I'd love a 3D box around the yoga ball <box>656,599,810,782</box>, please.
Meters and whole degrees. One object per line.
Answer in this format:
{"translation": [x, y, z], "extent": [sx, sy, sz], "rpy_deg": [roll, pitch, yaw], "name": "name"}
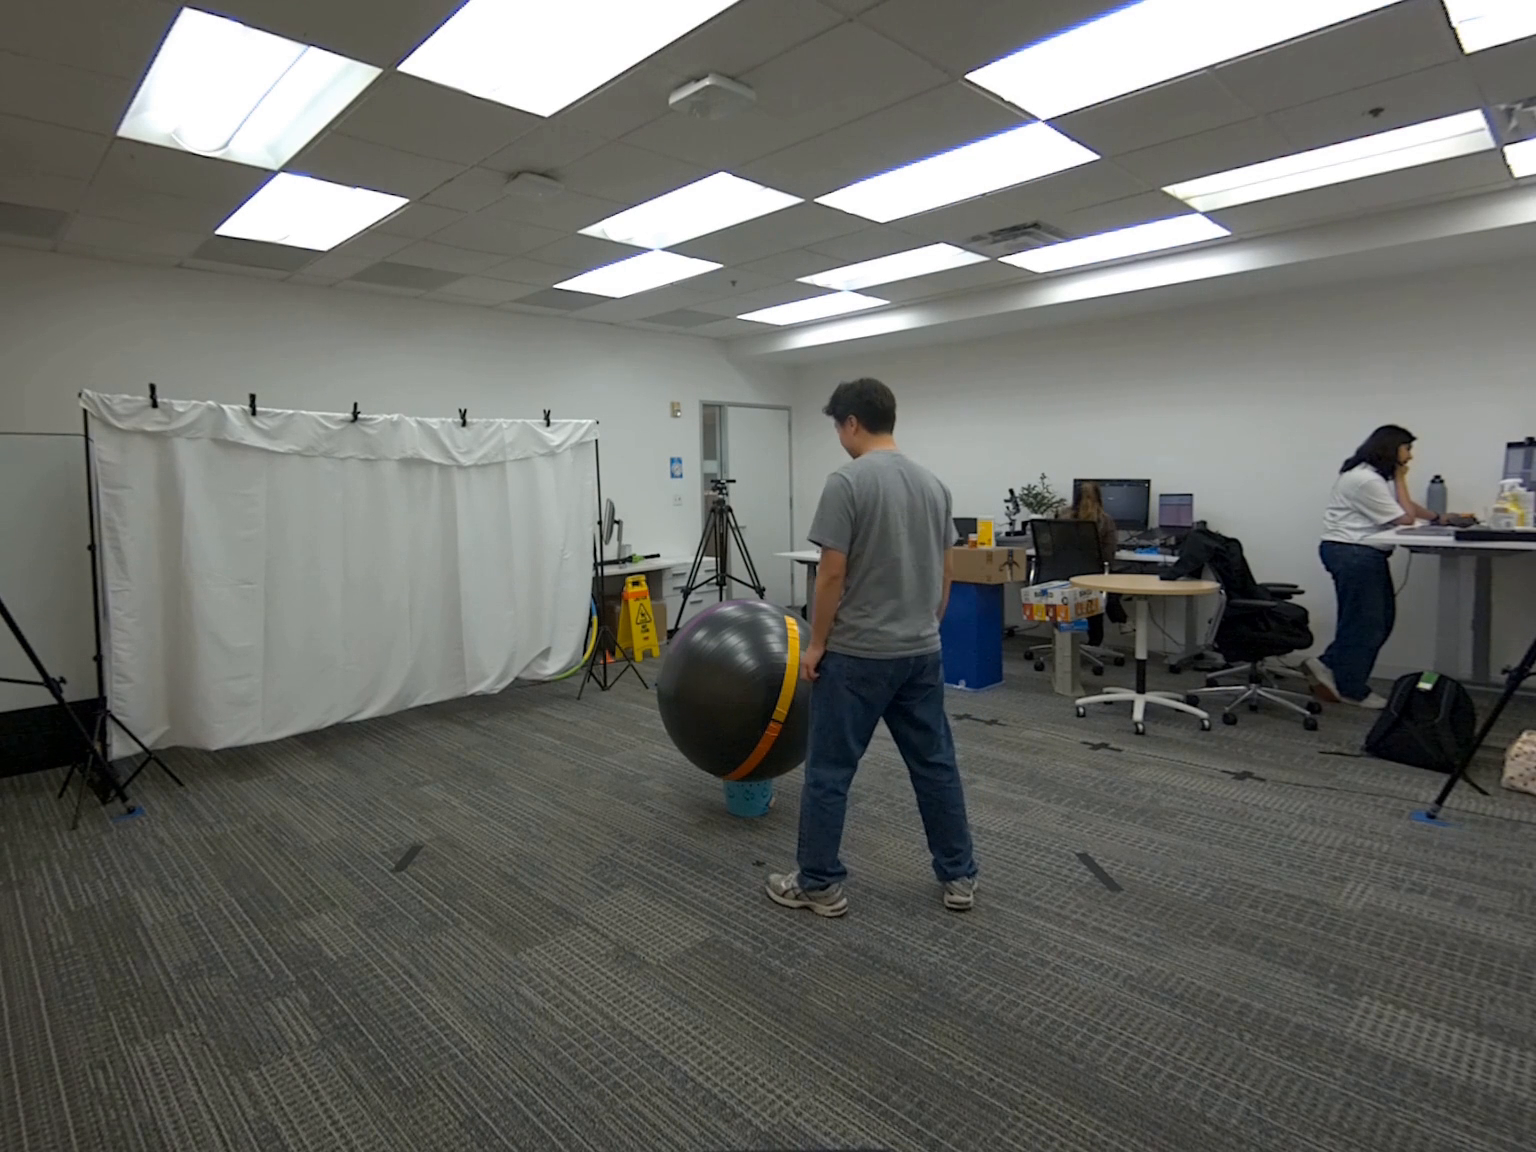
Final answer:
{"translation": [-0.092, 0.479, 3.614], "extent": [0.757, 0.755, 0.762], "rpy_deg": [-1, 5, -2], "name": "yoga ball"}
